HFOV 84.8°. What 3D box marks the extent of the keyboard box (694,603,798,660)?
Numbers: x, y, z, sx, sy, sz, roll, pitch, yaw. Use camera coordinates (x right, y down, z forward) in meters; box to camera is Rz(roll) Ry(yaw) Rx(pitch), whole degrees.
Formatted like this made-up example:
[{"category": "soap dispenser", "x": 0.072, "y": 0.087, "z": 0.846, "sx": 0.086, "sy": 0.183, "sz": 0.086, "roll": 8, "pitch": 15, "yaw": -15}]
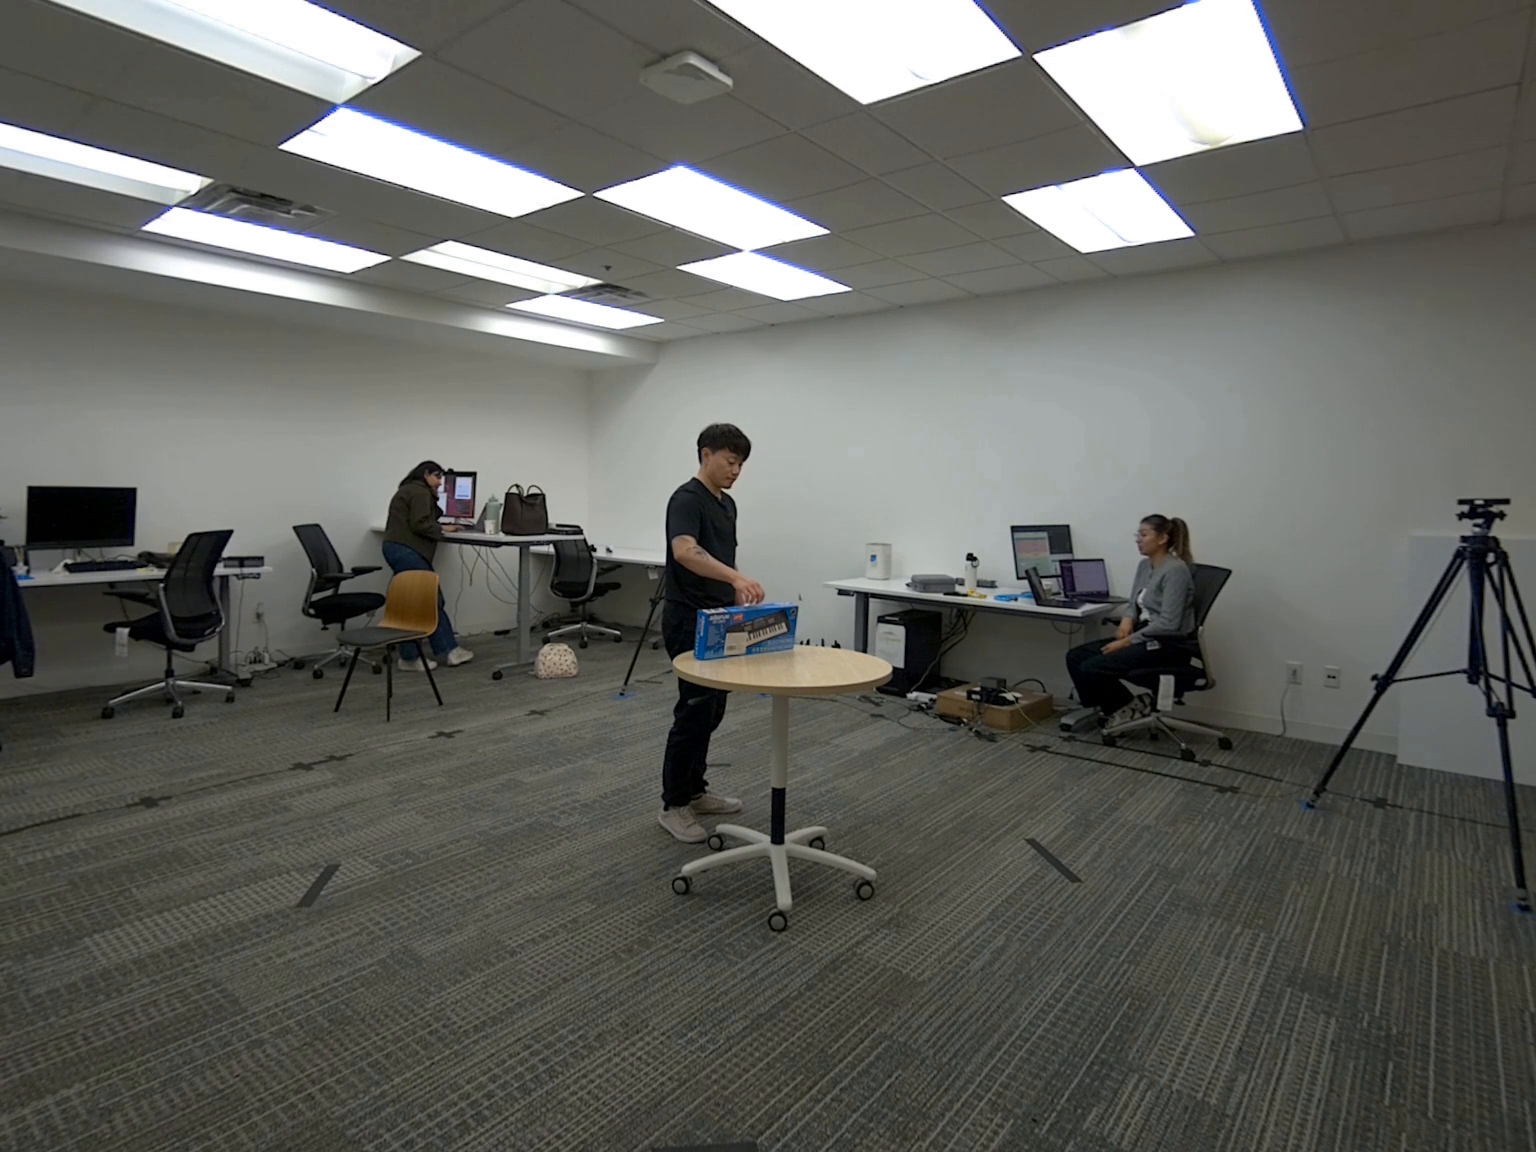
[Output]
[{"category": "keyboard box", "x": -0.084, "y": 0.198, "z": 3.143, "sx": 0.424, "sy": 0.175, "sz": 0.061, "roll": -3, "pitch": 11, "yaw": -38}]
